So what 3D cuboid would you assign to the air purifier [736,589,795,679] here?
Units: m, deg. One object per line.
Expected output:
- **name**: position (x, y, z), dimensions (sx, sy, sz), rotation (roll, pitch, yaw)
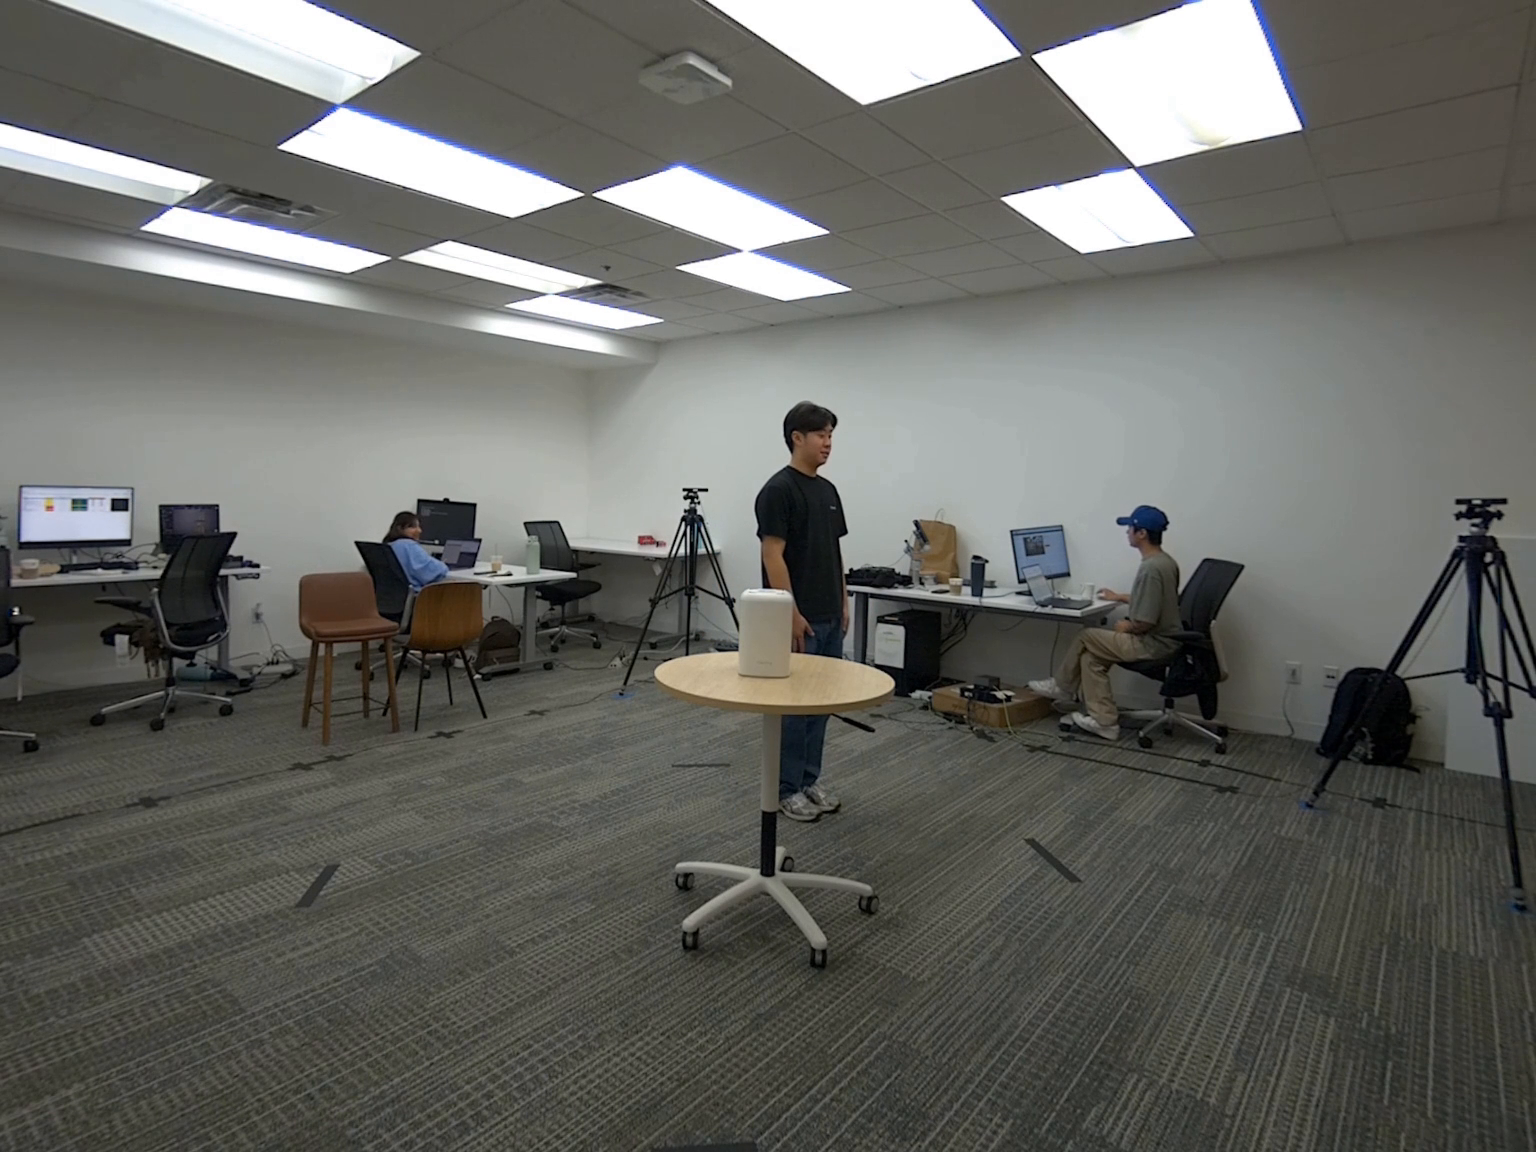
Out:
- **air purifier**: position (-0.015, 0.180, 2.759), dimensions (0.172, 0.265, 0.171), rotation (2, 2, 3)
